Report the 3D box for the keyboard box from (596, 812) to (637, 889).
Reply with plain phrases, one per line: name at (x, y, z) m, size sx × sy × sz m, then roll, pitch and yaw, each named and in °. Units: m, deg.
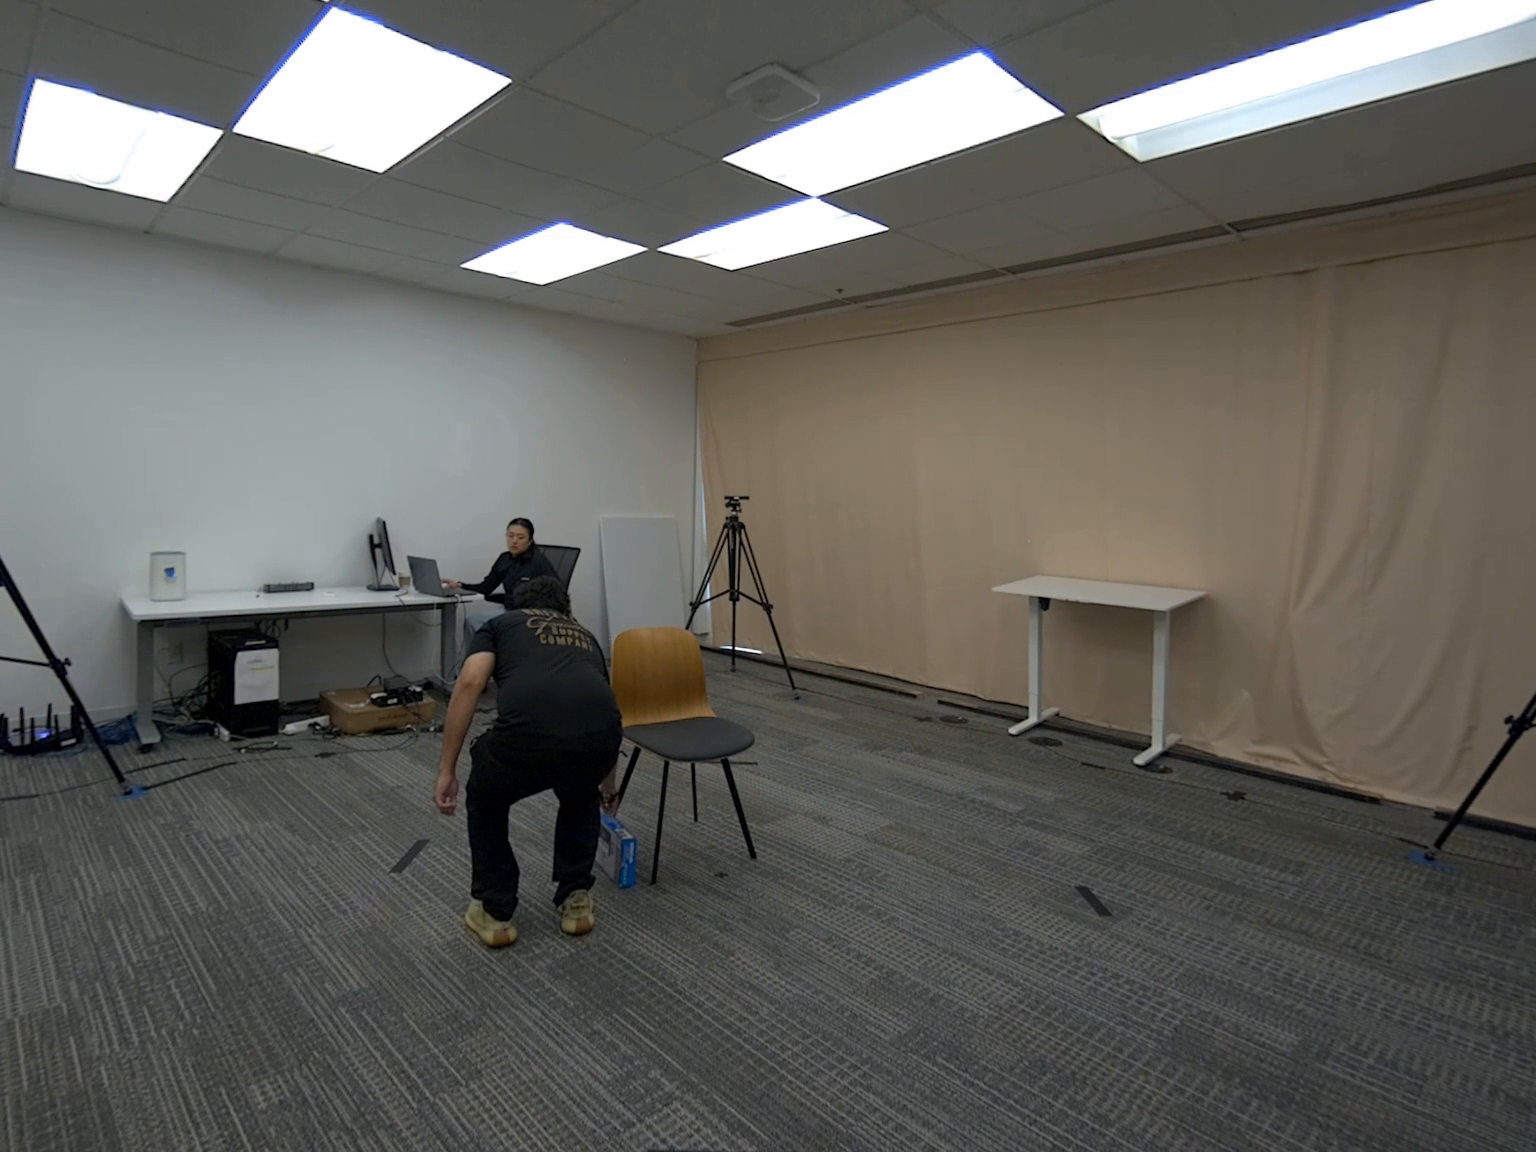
keyboard box at (-0.623, 1.002, 3.168) m, size 0.058 × 0.175 × 0.447 m, roll 1°, pitch 5°, yaw -31°
